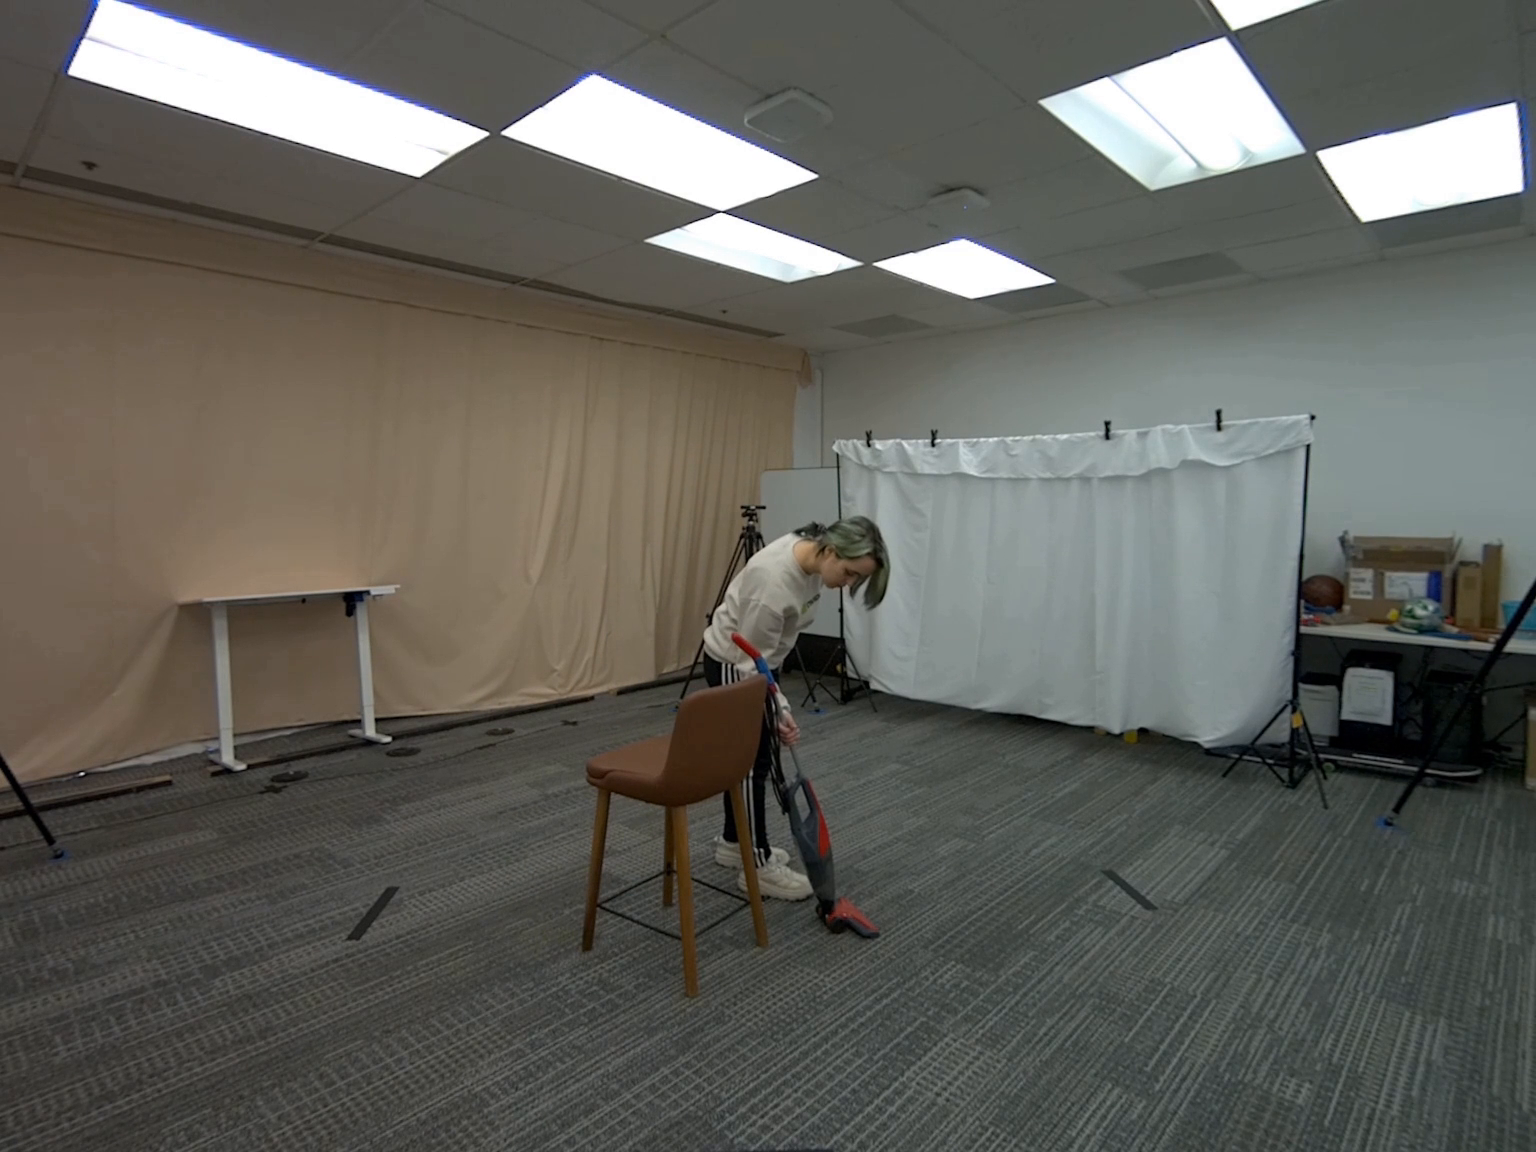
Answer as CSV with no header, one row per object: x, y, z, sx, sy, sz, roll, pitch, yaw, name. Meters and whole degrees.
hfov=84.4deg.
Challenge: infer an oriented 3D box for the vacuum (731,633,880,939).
0.094,0.679,2.729,0.142,1.039,0.258,-23,11,-17,vacuum
